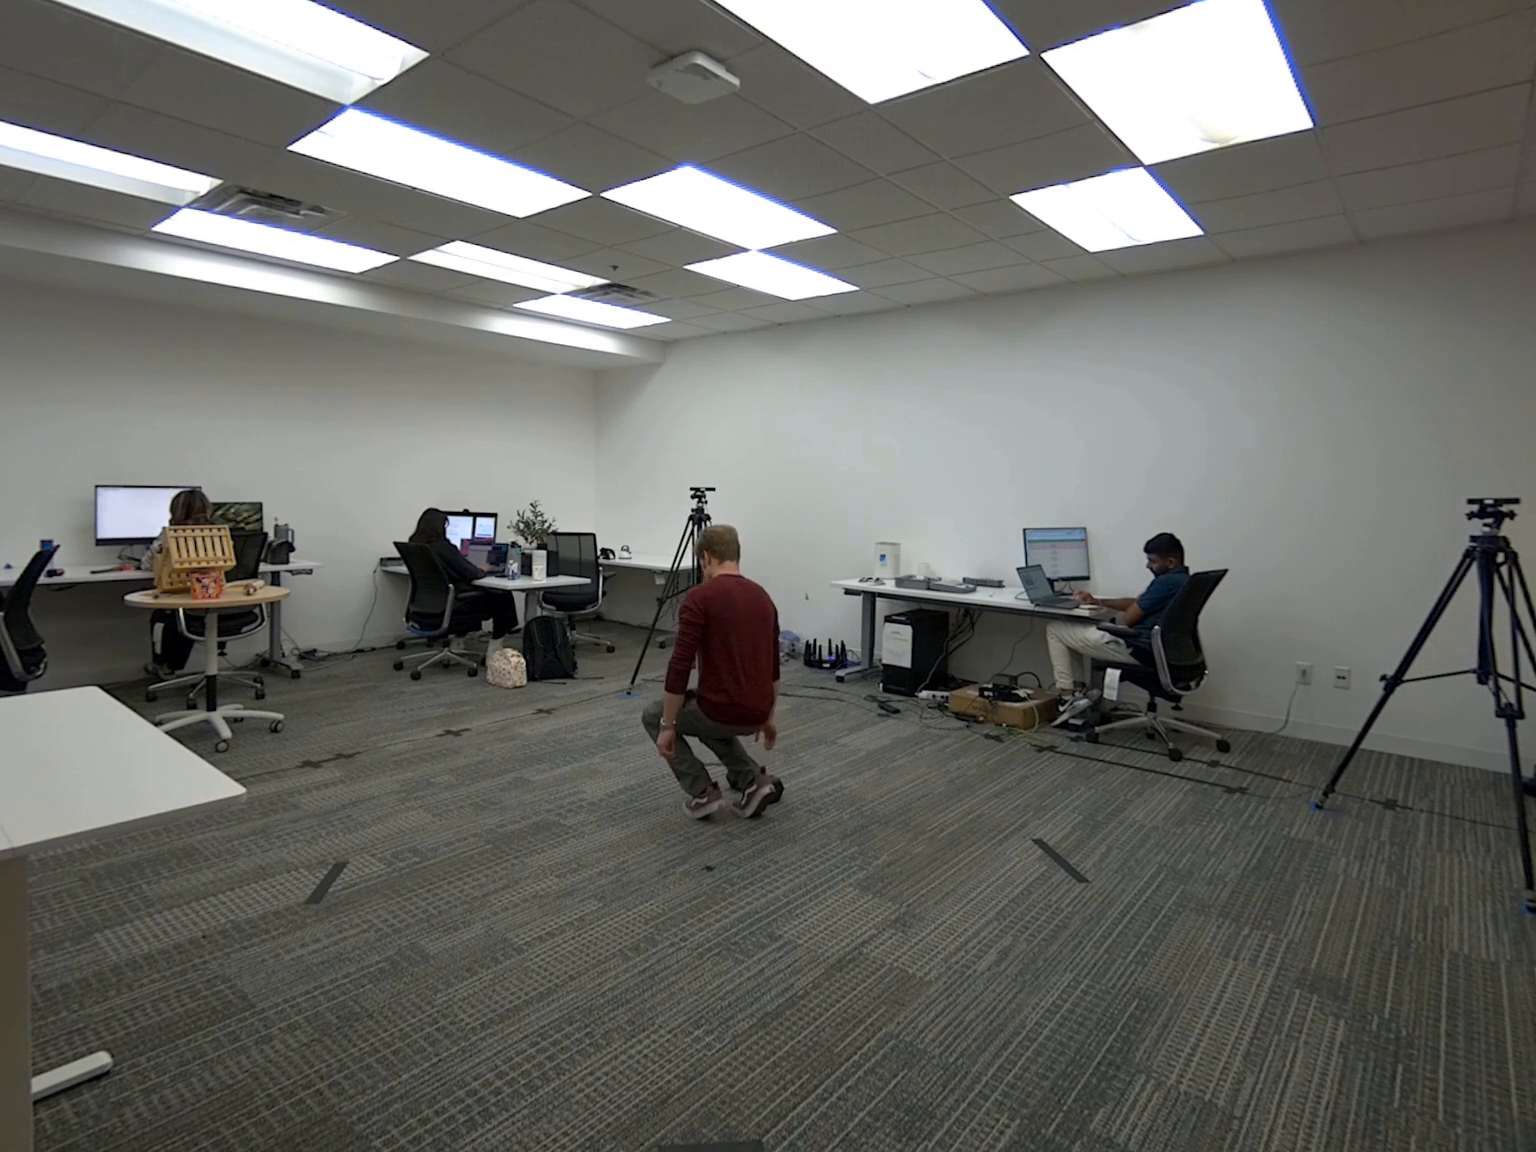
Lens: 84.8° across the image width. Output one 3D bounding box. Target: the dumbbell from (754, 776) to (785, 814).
[{"bbox_3d":[-0.066,0.934,3.884,0.108,0.120,0.304,-37,28,-32],"label":"dumbbell"}]
